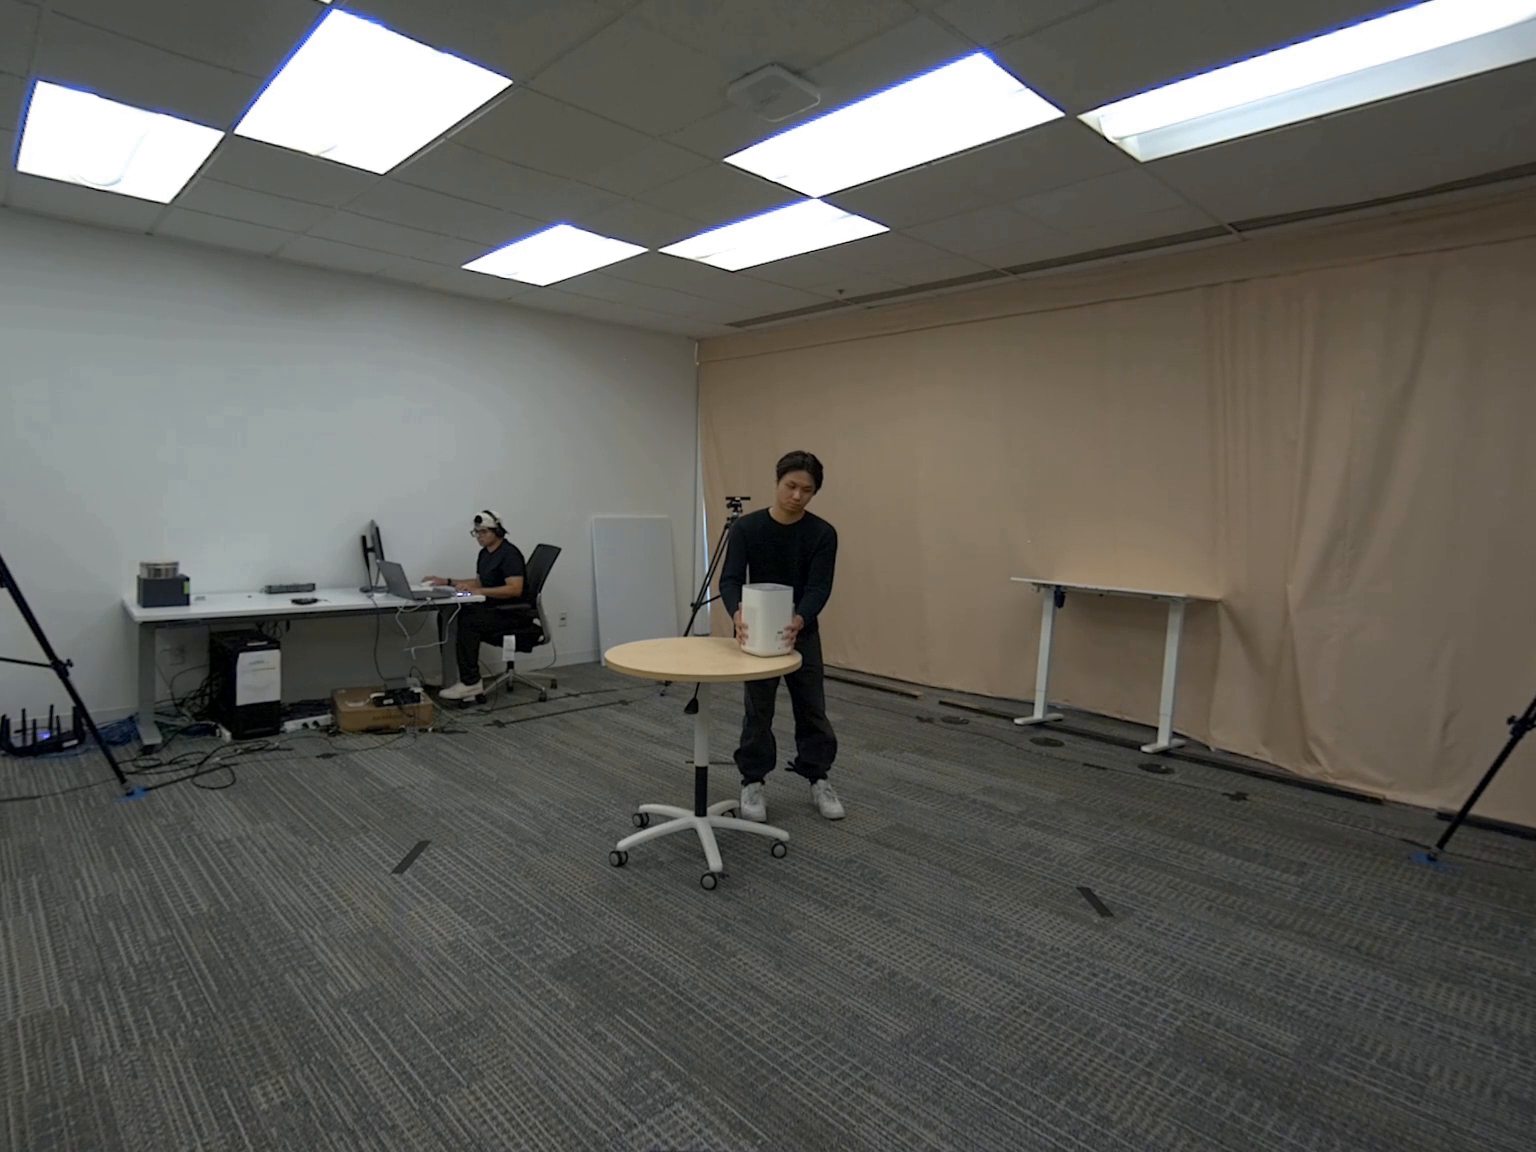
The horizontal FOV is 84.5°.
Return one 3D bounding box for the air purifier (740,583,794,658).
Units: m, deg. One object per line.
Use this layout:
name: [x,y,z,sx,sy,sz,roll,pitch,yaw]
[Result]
air purifier: [-0.018,0.172,3.307,0.167,0.264,0.176,-1,6,-38]
